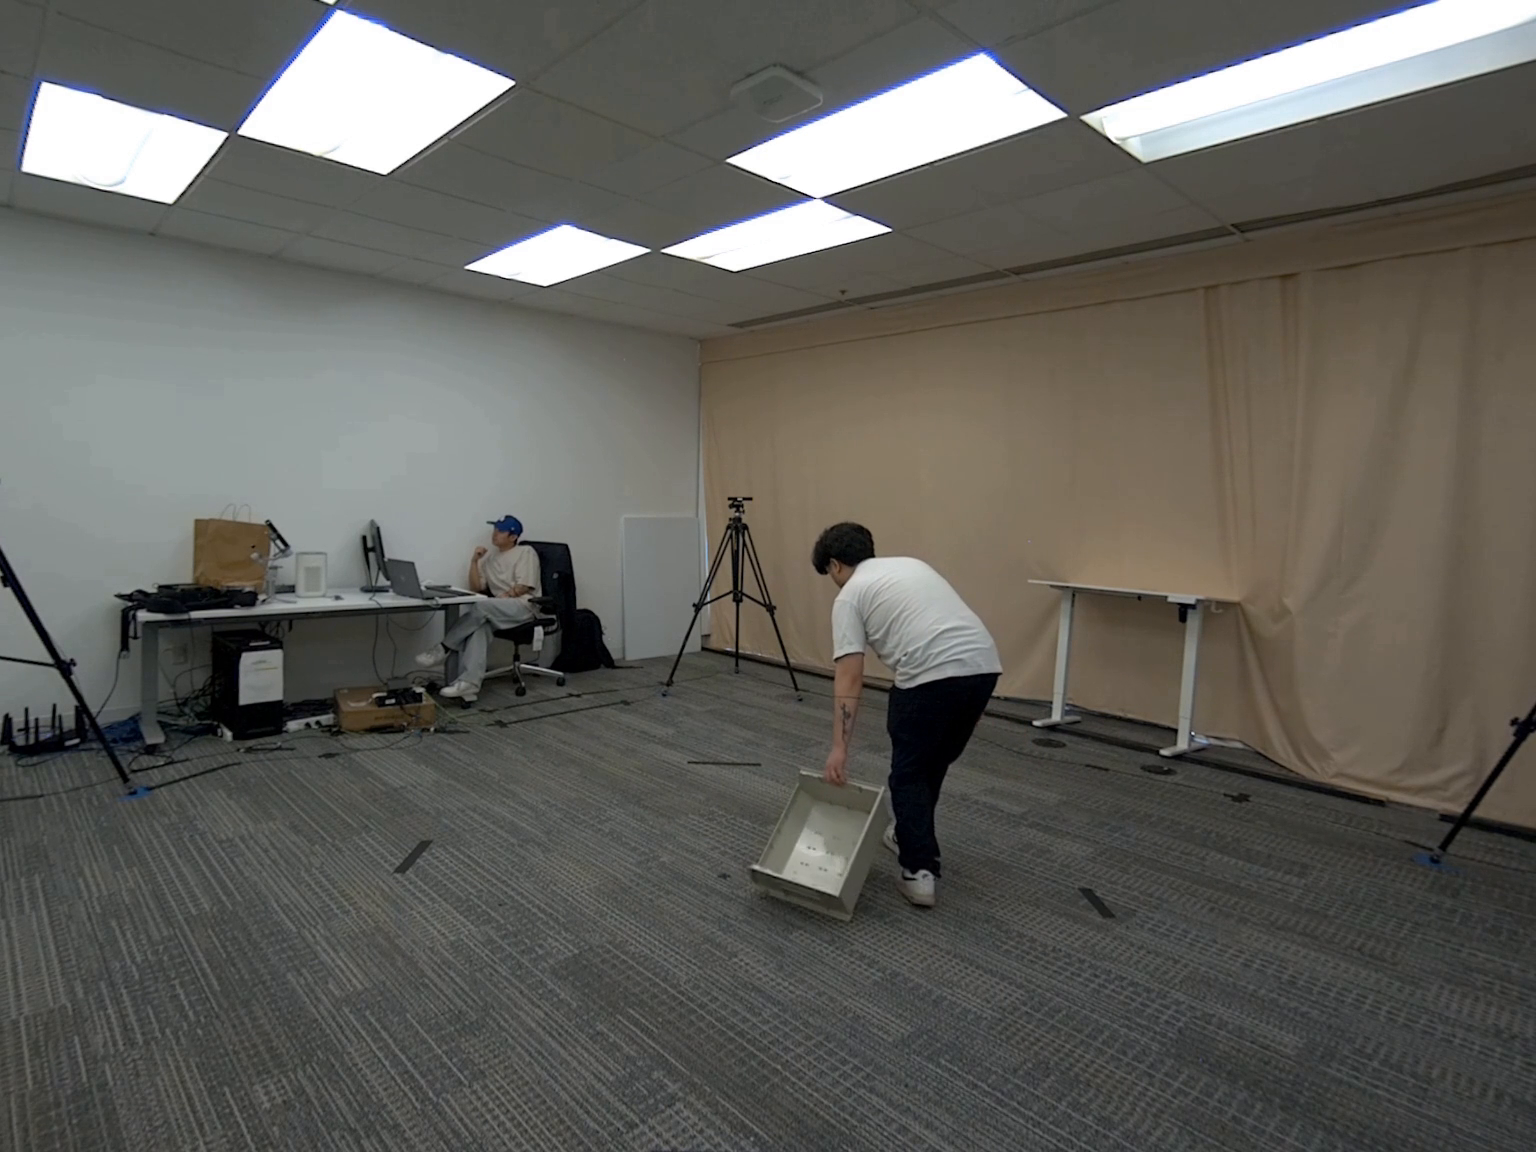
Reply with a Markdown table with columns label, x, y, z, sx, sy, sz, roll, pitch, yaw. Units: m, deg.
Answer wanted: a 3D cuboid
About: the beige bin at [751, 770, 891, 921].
| label | x | y | z | sx | sy | sz | roll | pitch | yaw |
| --- | --- | --- | --- | --- | --- | --- | --- | --- | --- |
| beige bin | 0.178 | 0.930 | 2.954 | 0.386 | 0.184 | 0.424 | 4 | 43 | 31 |
